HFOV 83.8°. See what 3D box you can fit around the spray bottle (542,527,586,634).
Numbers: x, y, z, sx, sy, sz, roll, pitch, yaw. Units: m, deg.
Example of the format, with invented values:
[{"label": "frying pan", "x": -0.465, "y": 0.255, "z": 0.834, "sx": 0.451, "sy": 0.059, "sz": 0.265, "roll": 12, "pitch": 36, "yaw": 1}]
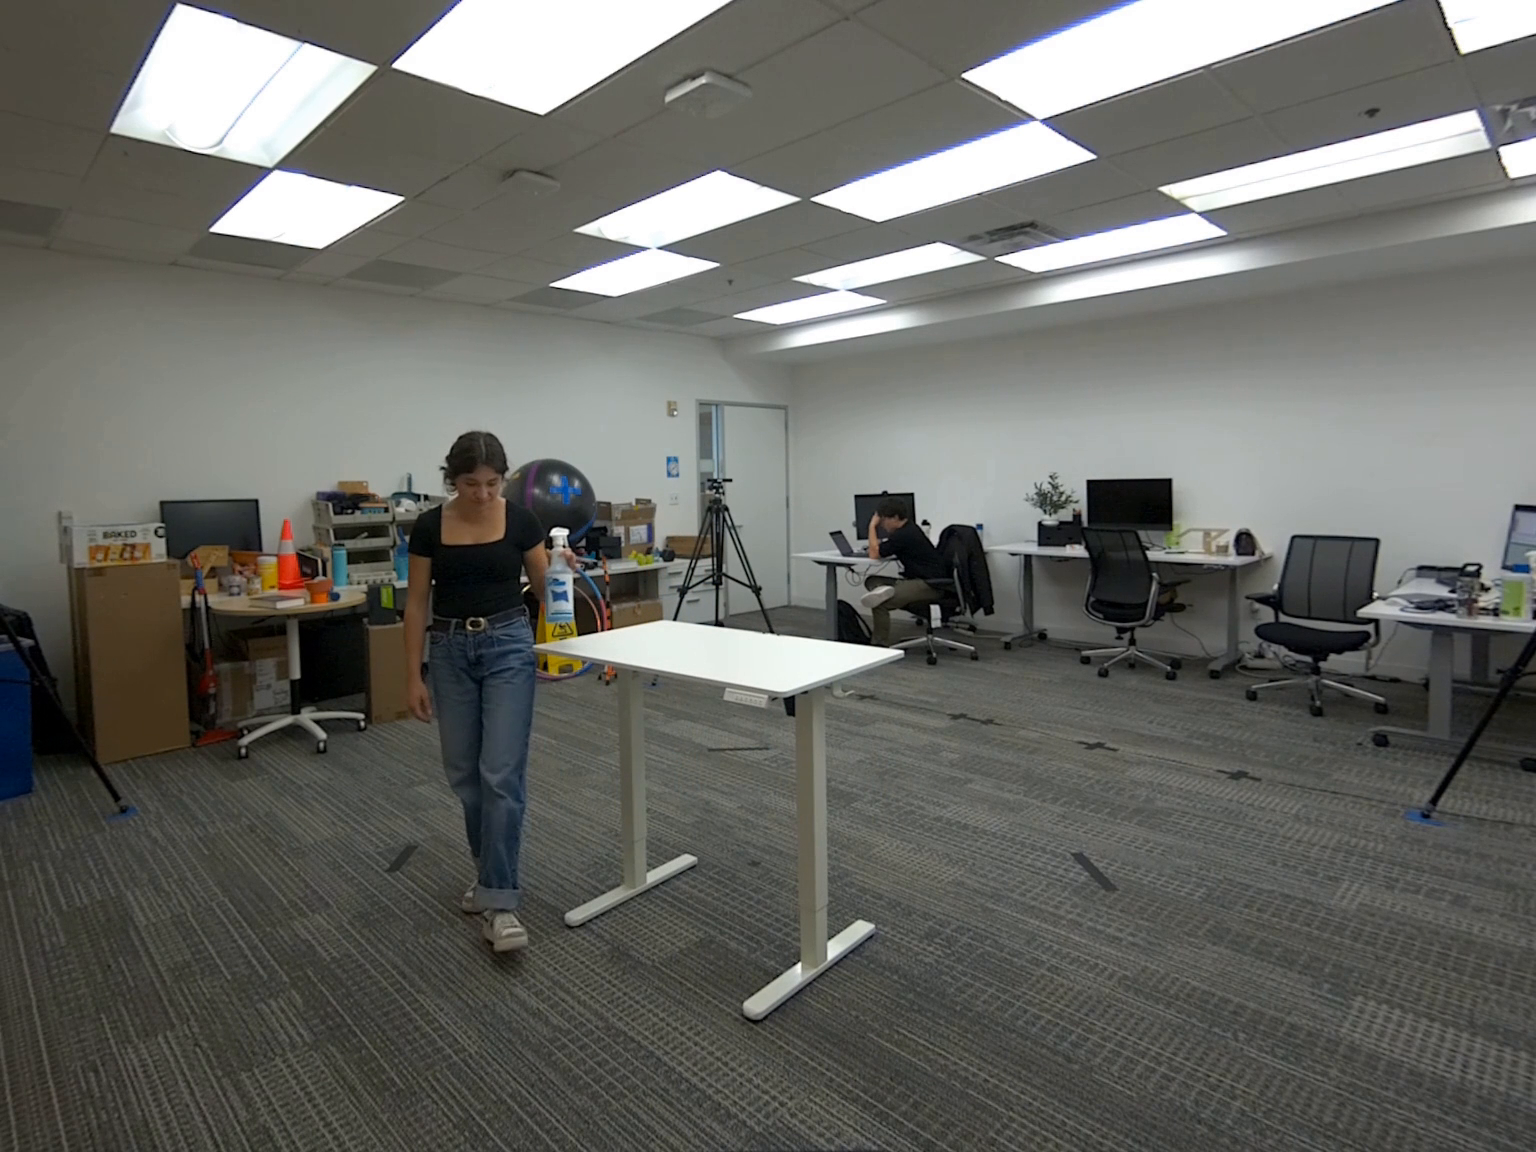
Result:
[{"label": "spray bottle", "x": -0.652, "y": -0.002, "z": 2.650, "sx": 0.087, "sy": 0.300, "sz": 0.089, "roll": 6, "pitch": -14, "yaw": -42}]
